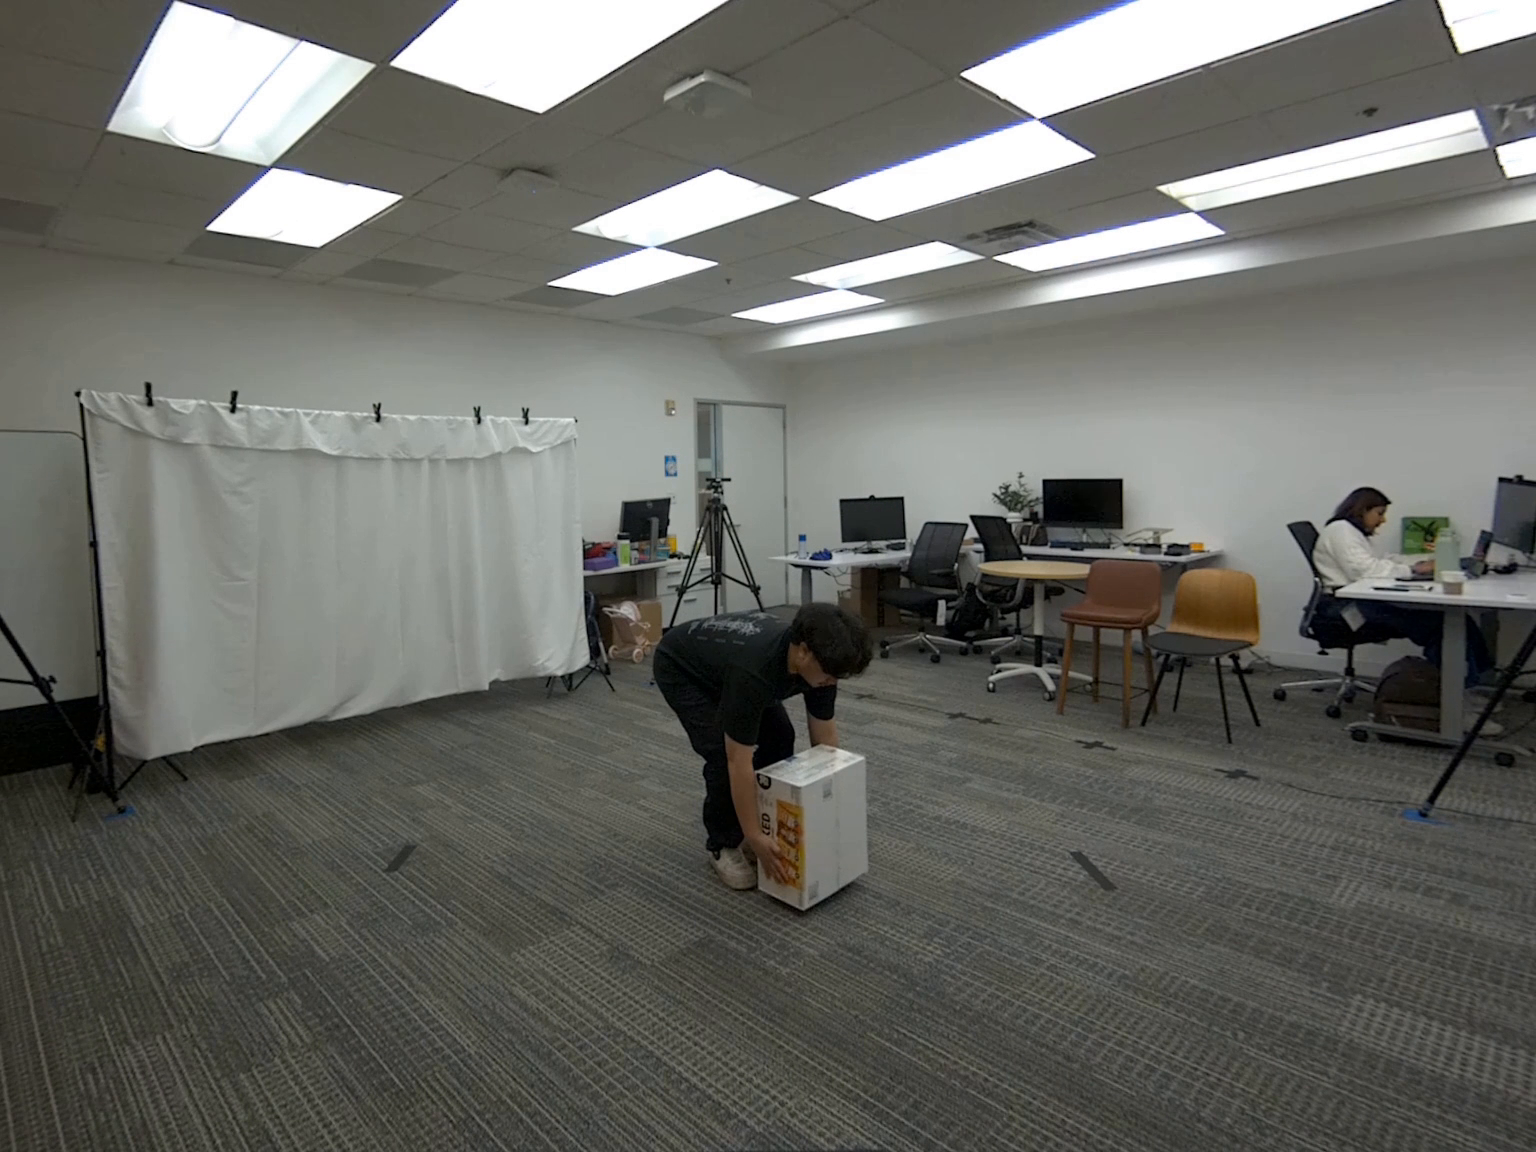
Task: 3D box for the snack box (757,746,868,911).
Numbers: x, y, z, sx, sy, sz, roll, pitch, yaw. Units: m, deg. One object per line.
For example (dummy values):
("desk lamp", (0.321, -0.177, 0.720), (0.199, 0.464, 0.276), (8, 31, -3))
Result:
("snack box", (0.144, 0.824, 2.858), (0.212, 0.403, 0.332), (4, 9, 44))
